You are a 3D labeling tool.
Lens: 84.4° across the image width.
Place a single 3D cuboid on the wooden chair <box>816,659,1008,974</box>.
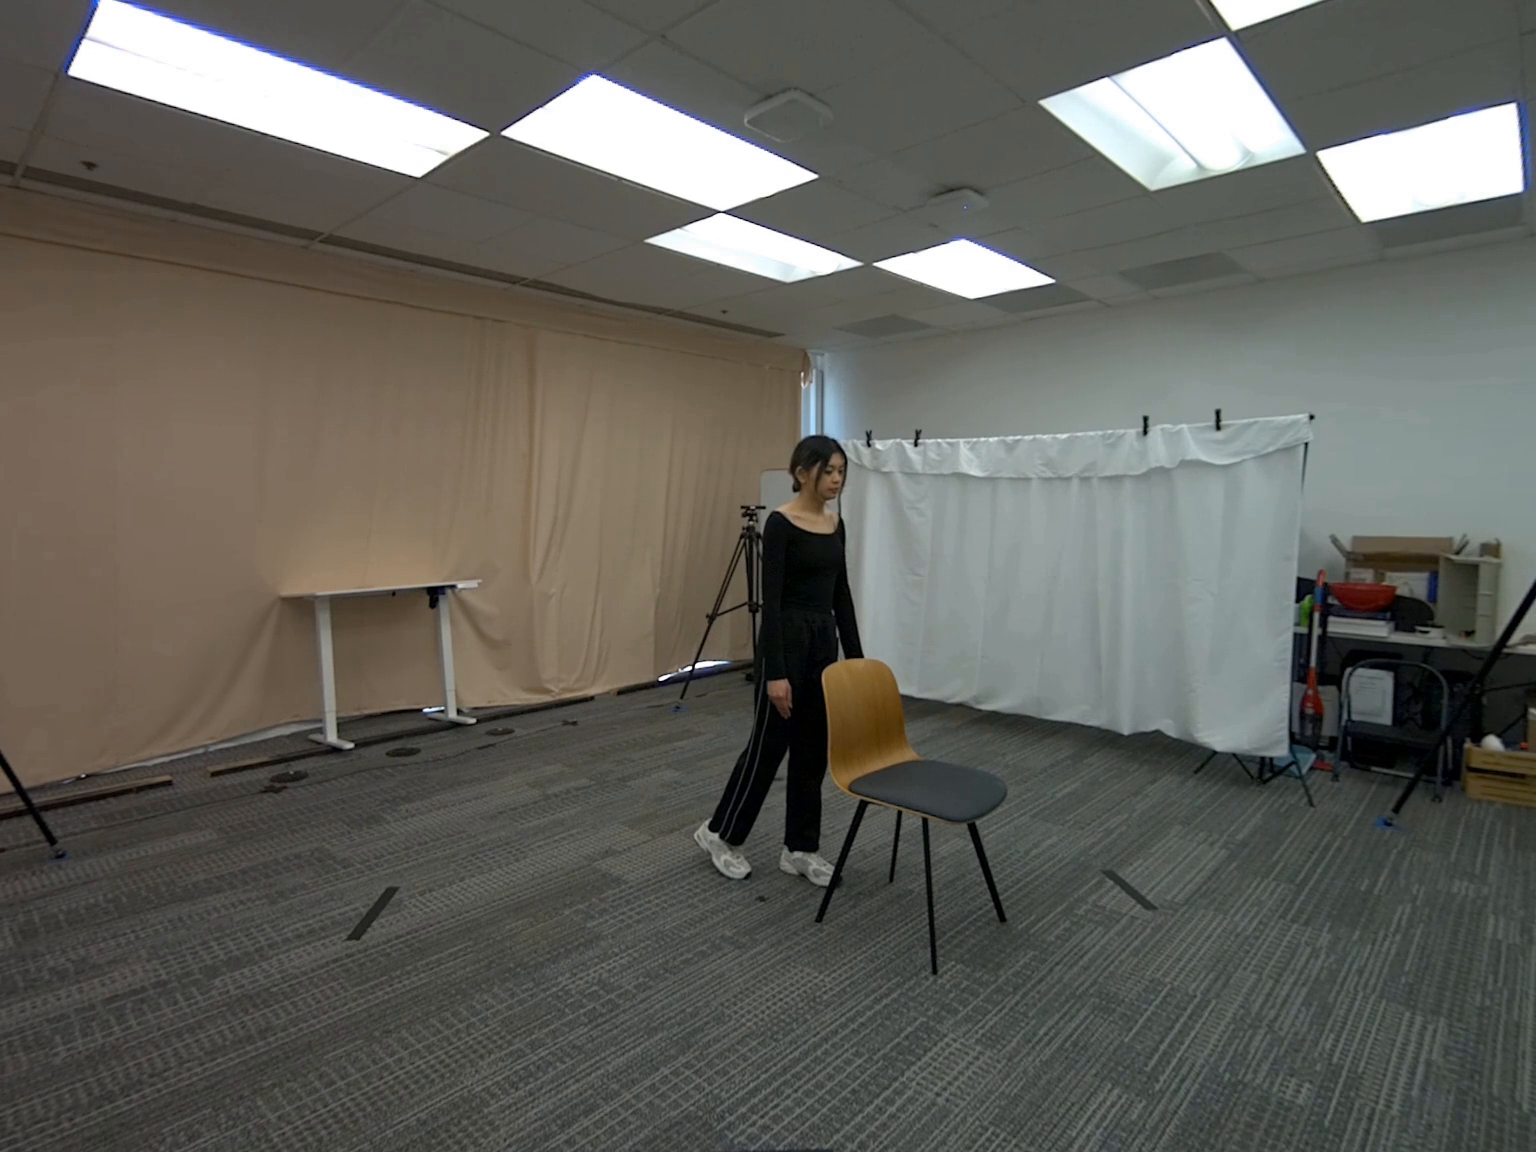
[{"bbox_3d":[0.493,0.734,2.775,0.539,0.877,0.463,-3,0,43],"label":"wooden chair"}]
